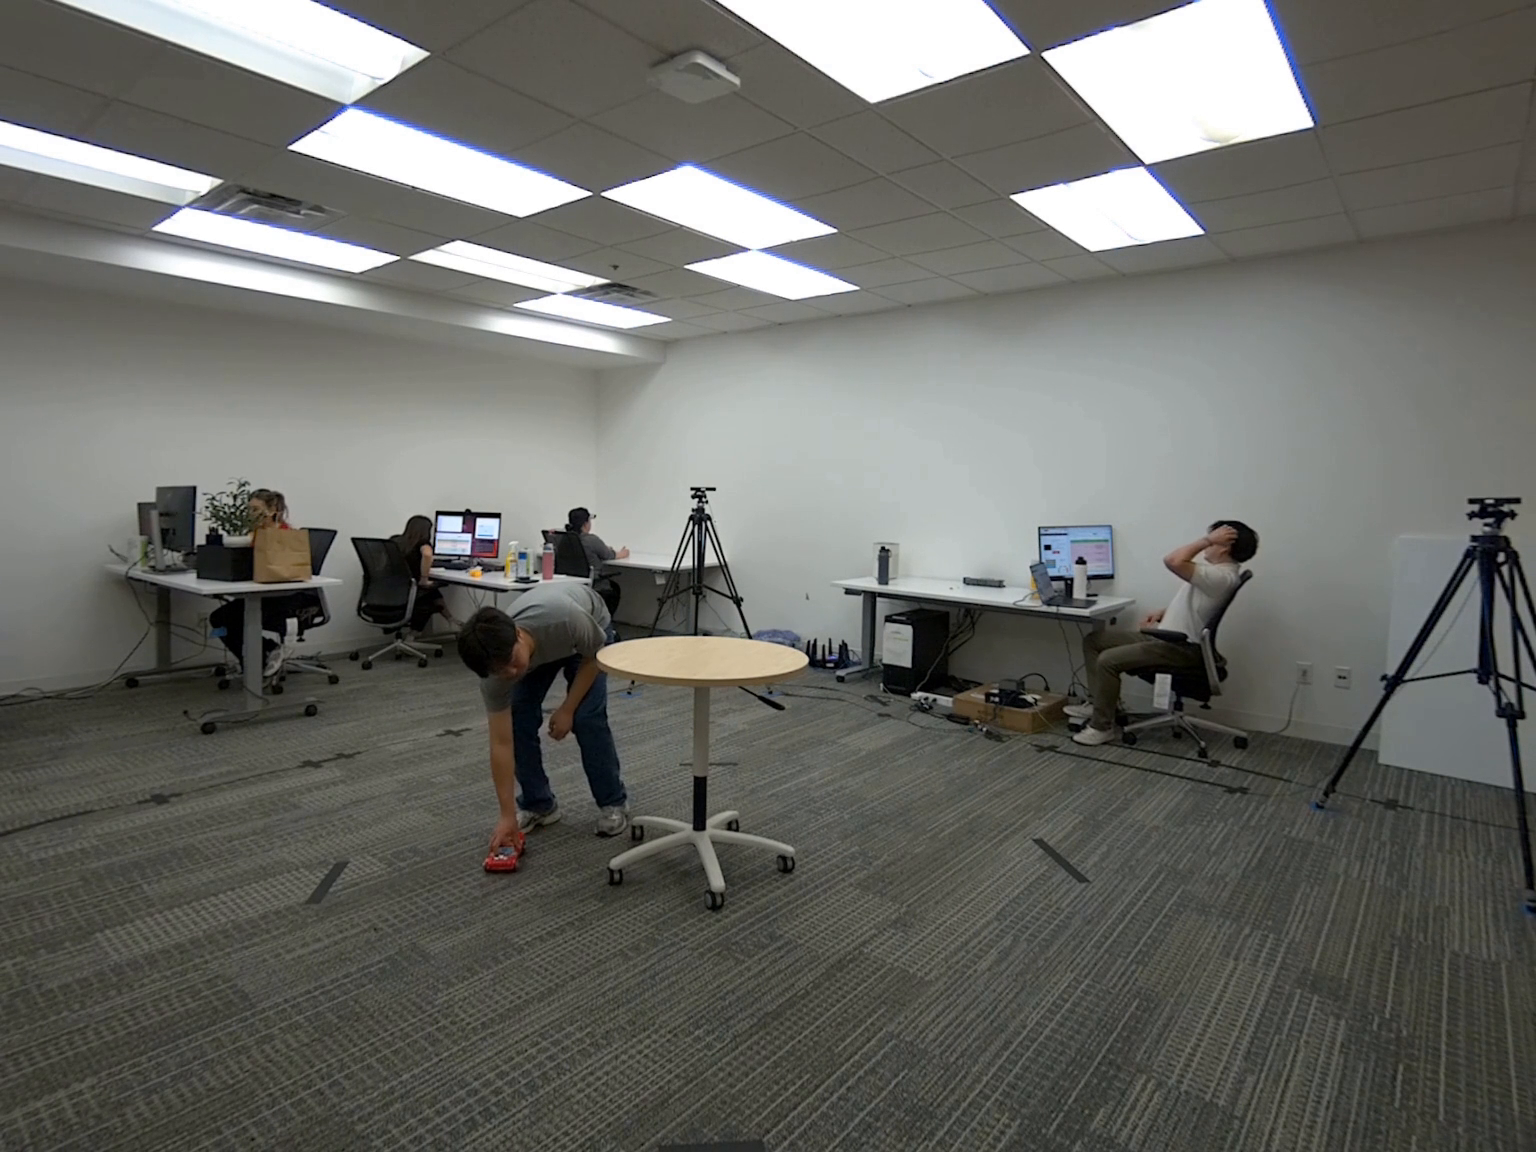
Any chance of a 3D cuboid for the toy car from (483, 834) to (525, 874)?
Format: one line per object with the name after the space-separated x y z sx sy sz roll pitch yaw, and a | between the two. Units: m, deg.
-0.979 1.020 3.153 0.130 0.082 0.259 1 16 -5 | toy car
